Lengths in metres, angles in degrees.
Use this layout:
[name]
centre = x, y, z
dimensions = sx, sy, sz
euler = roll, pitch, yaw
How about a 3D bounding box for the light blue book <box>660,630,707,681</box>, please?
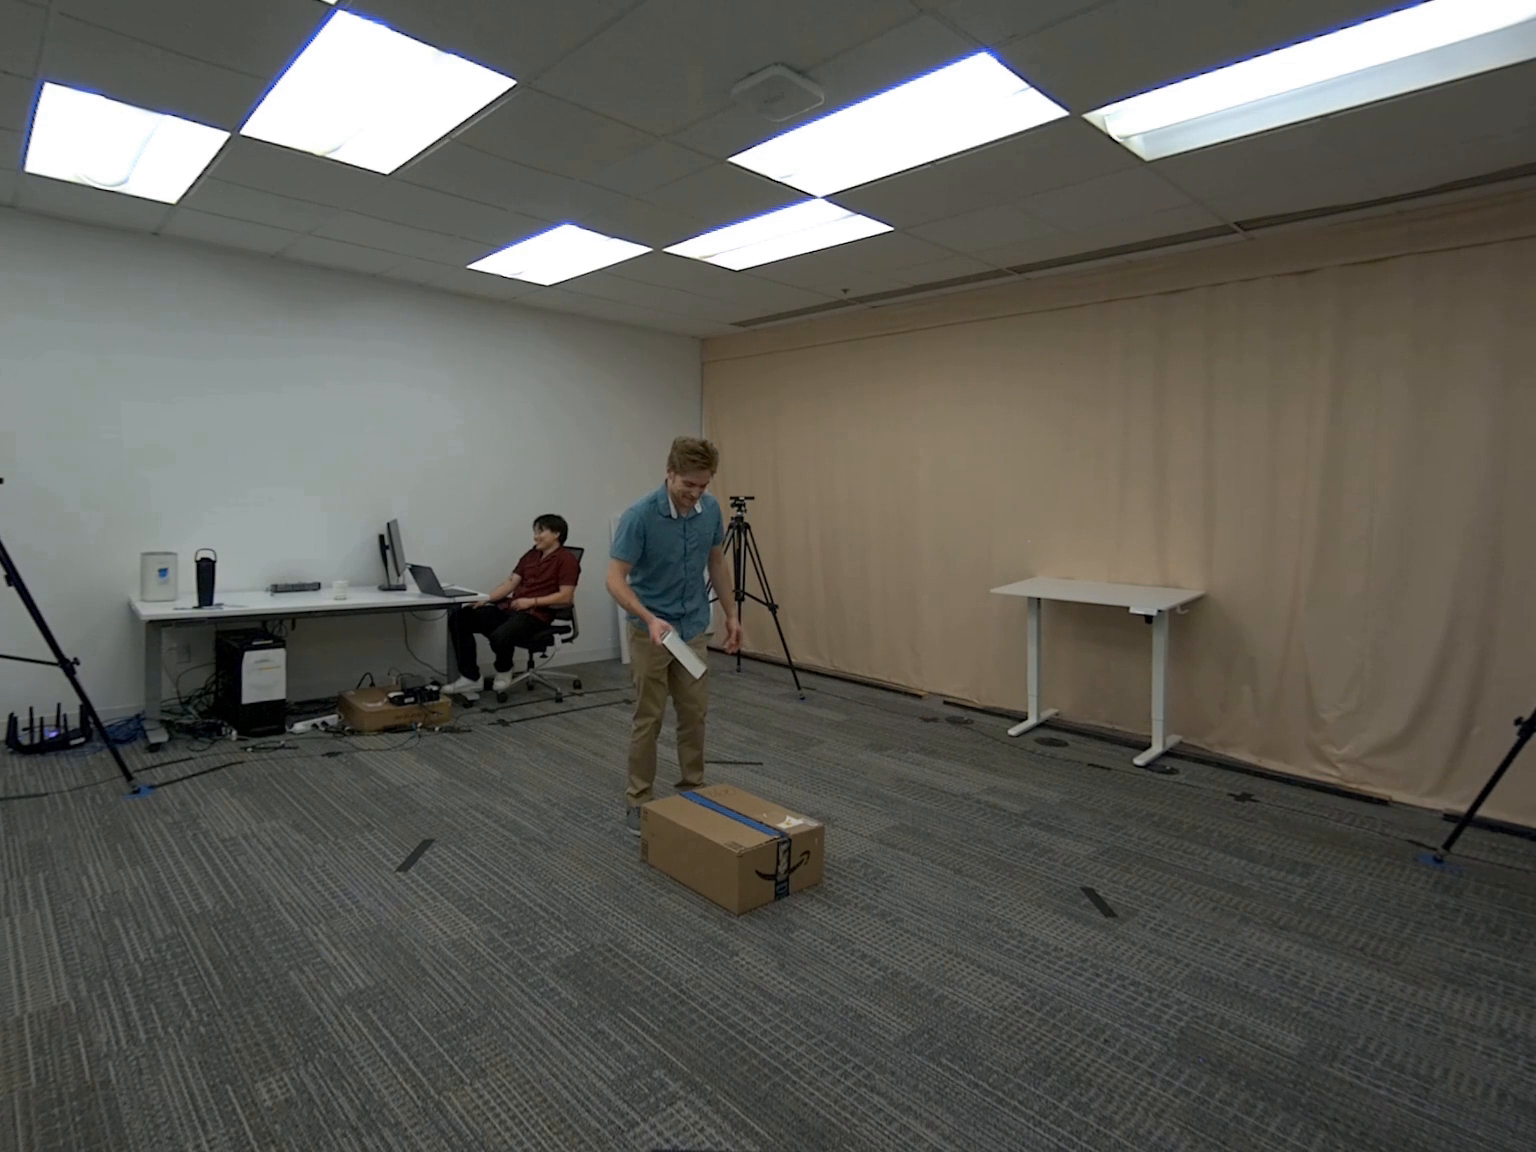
[light blue book]
centre = -0.343, 0.305, 3.222
dimensions = 0.059, 0.191, 0.261
euler = -42, 1, -7
